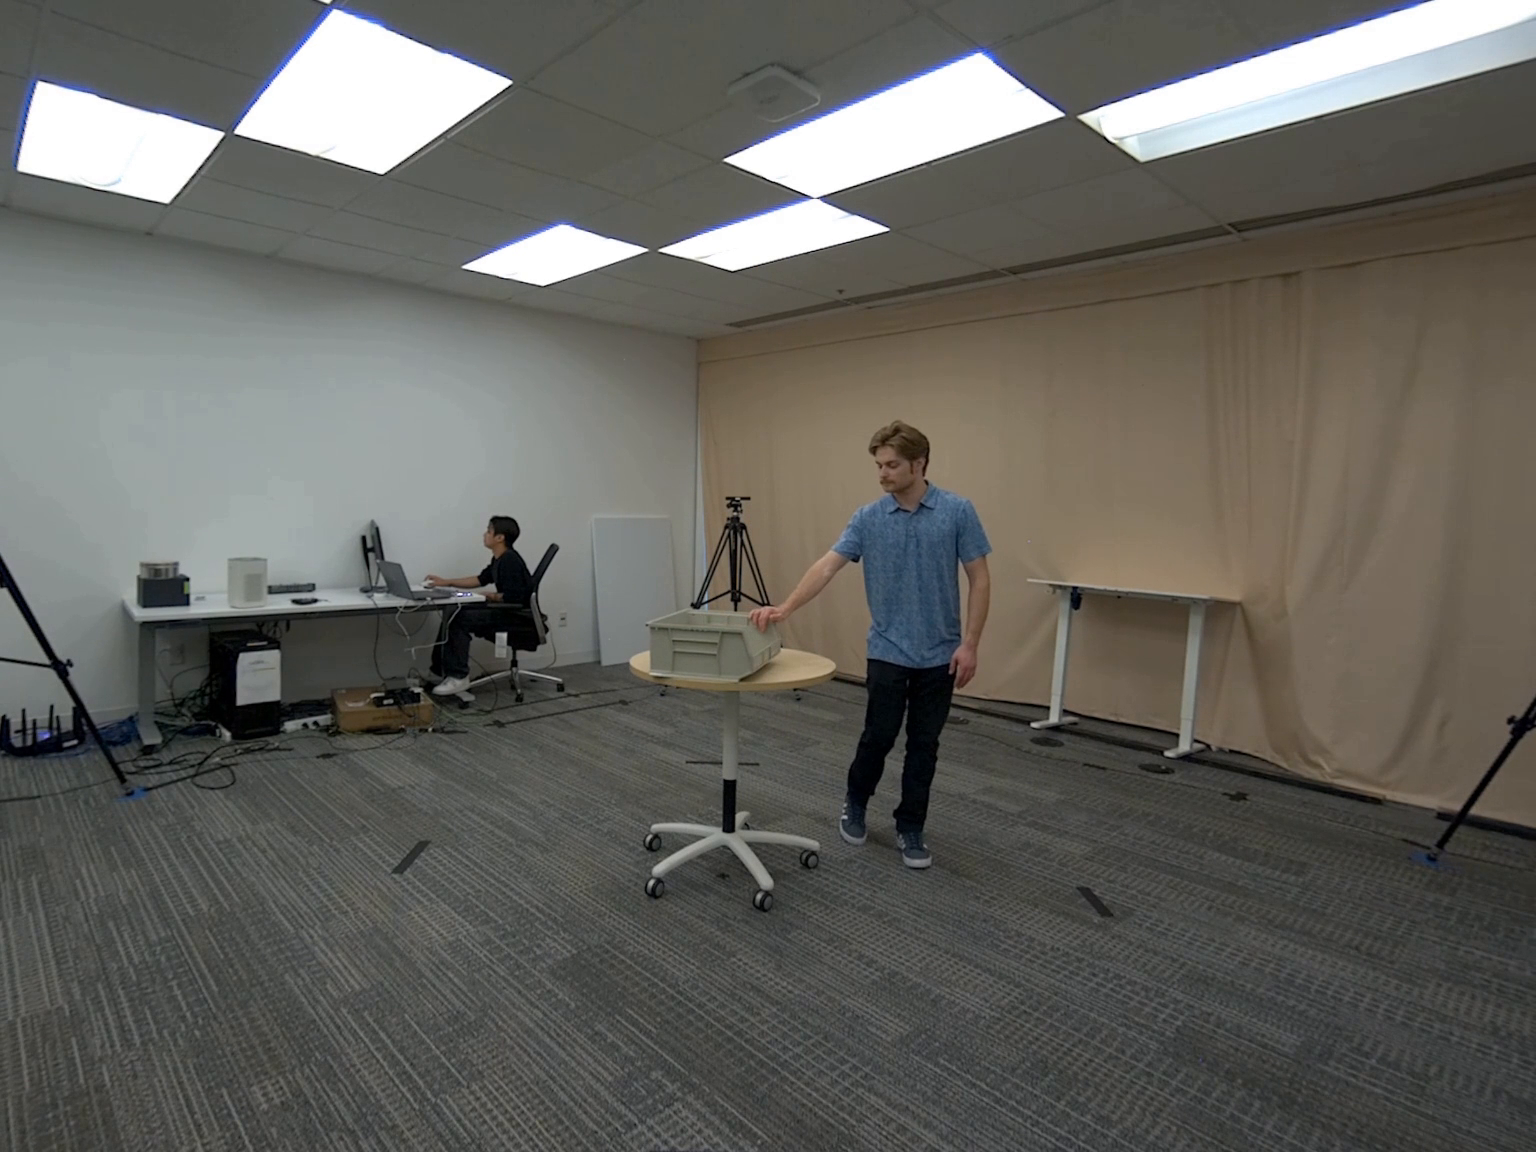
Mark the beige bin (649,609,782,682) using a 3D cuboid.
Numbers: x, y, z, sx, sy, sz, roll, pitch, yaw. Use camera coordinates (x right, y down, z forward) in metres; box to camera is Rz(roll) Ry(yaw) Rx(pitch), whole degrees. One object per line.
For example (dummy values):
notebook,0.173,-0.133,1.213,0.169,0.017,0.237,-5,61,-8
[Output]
beige bin,-0.183,0.243,2.986,0.381,0.188,0.419,1,5,13
